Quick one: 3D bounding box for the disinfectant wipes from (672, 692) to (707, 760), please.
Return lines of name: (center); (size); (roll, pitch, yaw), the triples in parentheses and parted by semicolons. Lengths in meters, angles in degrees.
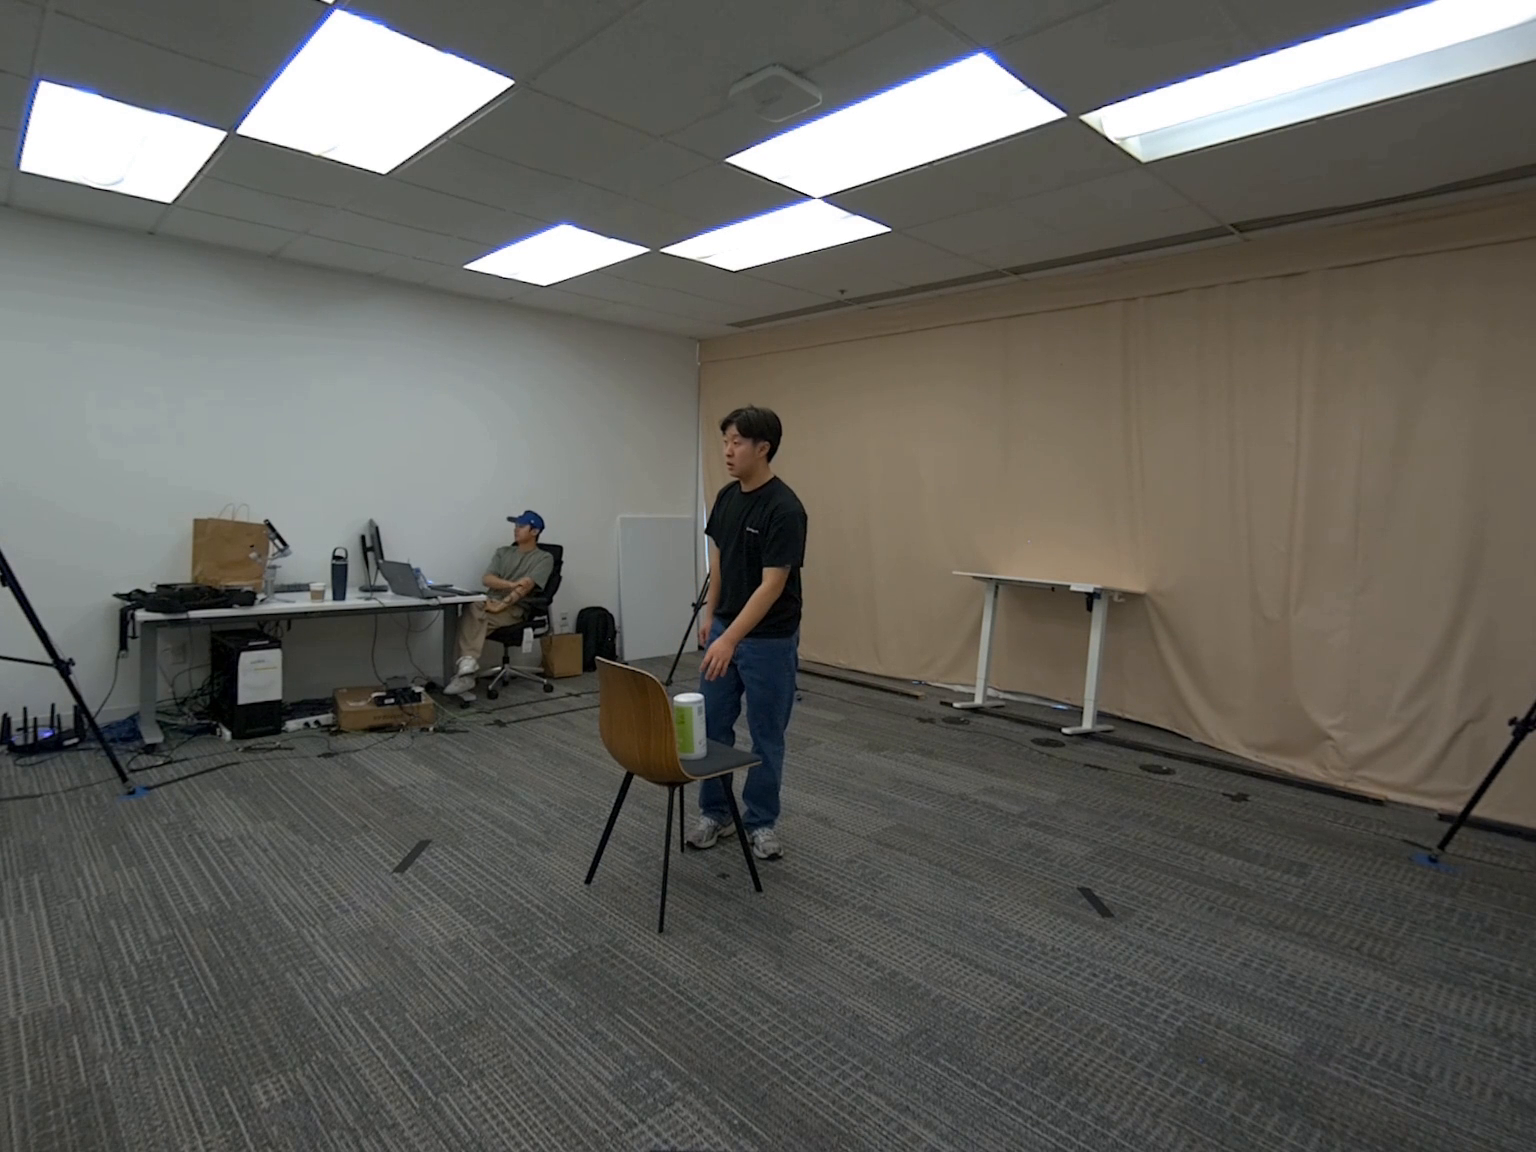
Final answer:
disinfectant wipes: (-0.278, 0.535, 2.973); (0.118, 0.216, 0.118); (-2, 5, -1)
